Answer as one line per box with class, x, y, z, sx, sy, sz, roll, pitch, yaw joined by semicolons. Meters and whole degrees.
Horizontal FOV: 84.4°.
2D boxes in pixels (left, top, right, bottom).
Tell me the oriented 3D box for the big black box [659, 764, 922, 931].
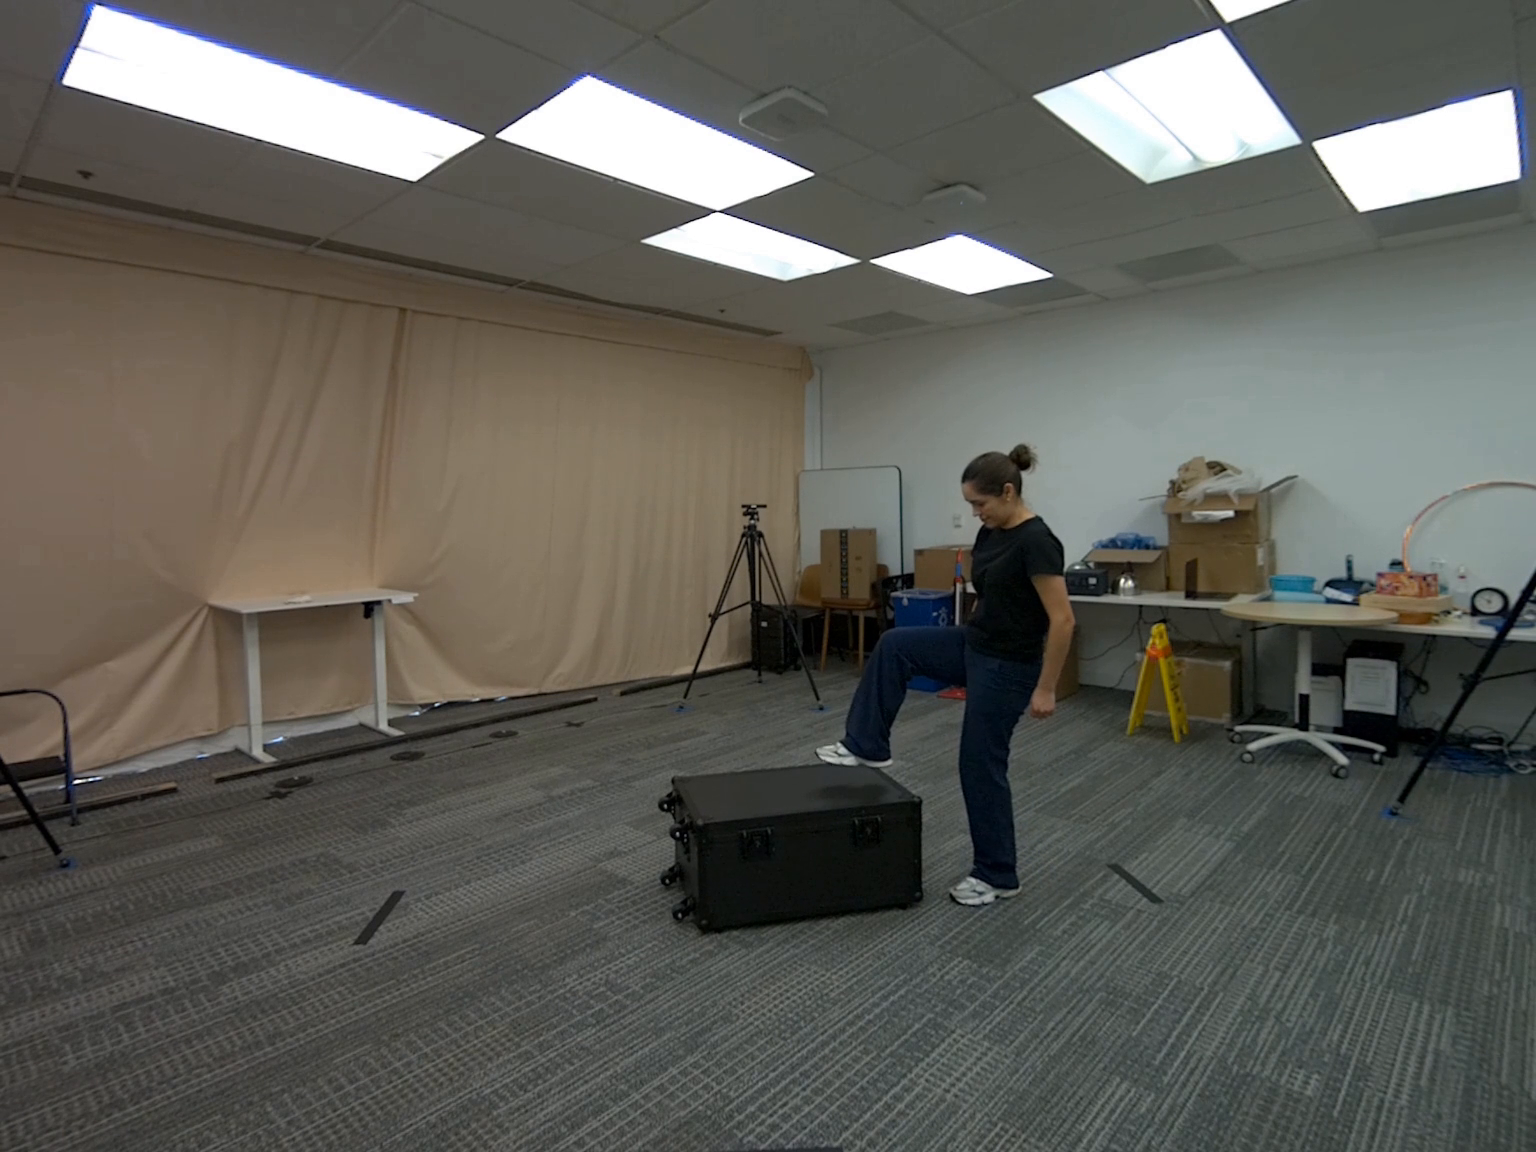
big black box;0.068;0.942;3.017;0.849;0.395;0.530;-2;4;-14
